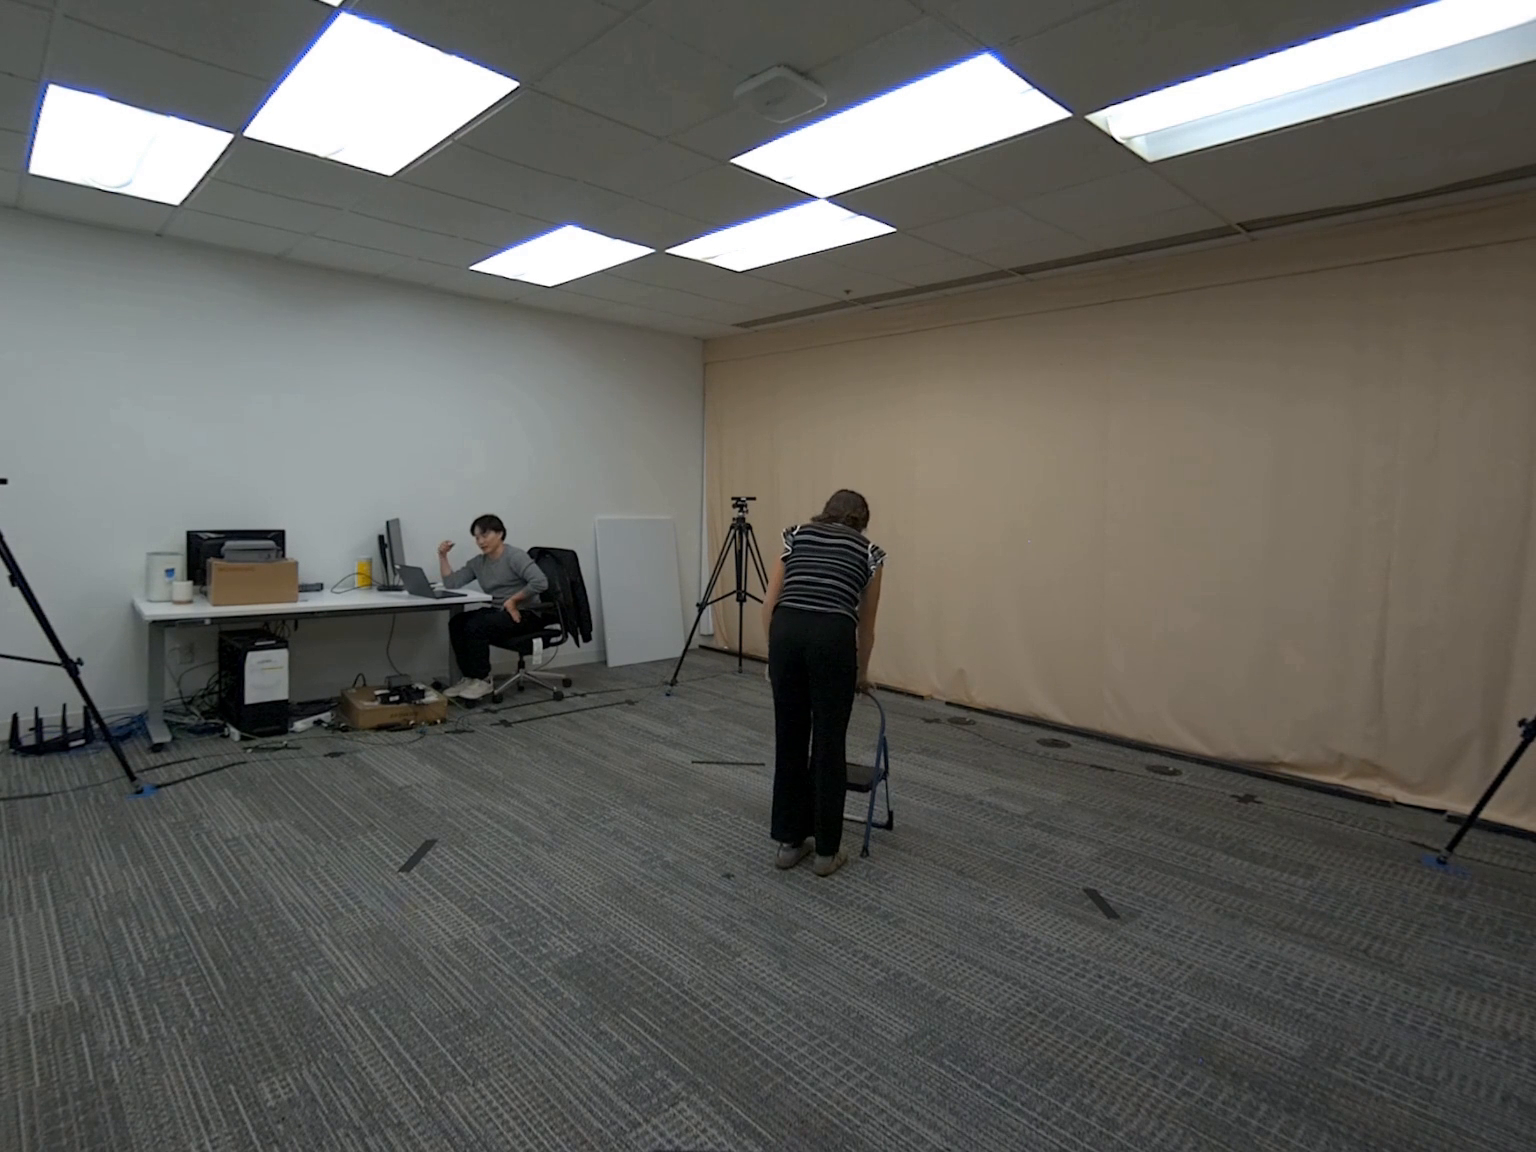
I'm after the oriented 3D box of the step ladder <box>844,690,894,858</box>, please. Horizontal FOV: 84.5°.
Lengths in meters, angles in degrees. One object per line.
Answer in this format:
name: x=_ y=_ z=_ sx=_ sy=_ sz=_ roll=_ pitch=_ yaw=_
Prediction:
step ladder: x=0.280 y=0.780 z=3.540 sx=0.440 sy=0.605 sz=0.342 roll=3 pitch=3 yaw=29
